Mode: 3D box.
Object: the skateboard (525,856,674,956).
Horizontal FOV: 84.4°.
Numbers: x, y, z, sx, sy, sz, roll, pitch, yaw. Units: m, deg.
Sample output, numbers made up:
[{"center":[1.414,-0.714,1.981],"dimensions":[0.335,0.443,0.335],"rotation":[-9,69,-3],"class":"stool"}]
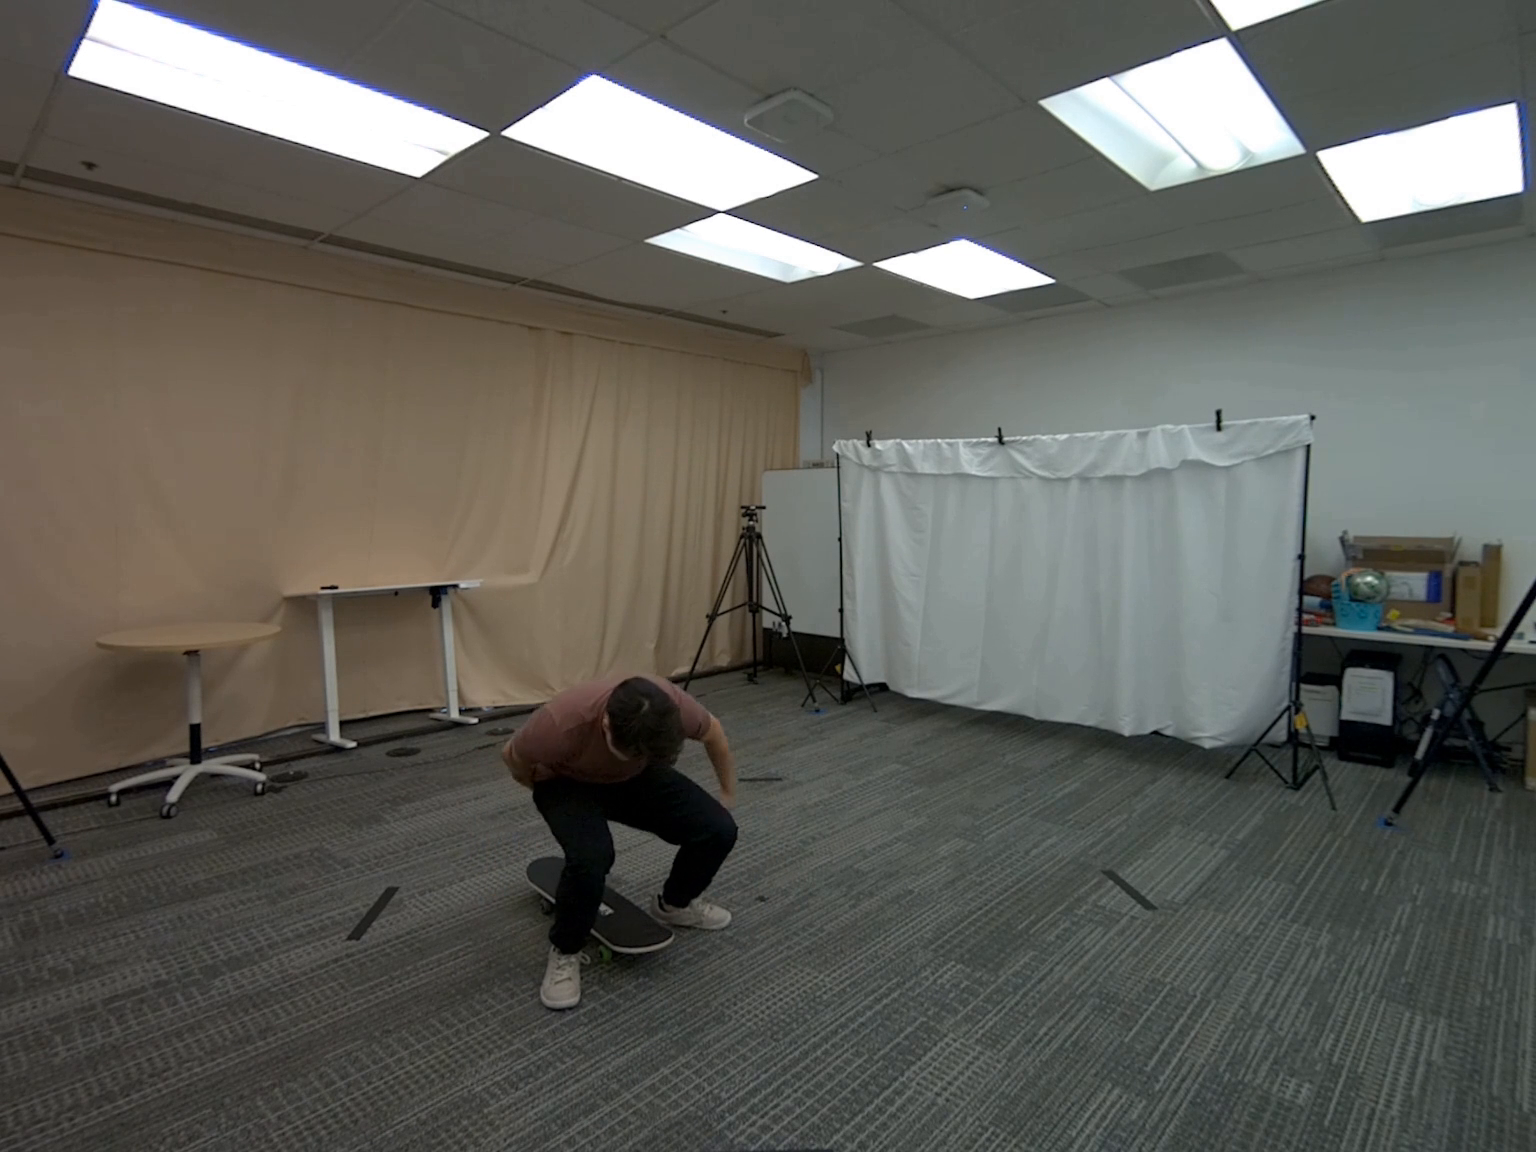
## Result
[{"center":[-0.576,1.113,2.771],"dimensions":[0.188,0.110,0.811],"rotation":[-4,6,-40],"class":"skateboard"}]
